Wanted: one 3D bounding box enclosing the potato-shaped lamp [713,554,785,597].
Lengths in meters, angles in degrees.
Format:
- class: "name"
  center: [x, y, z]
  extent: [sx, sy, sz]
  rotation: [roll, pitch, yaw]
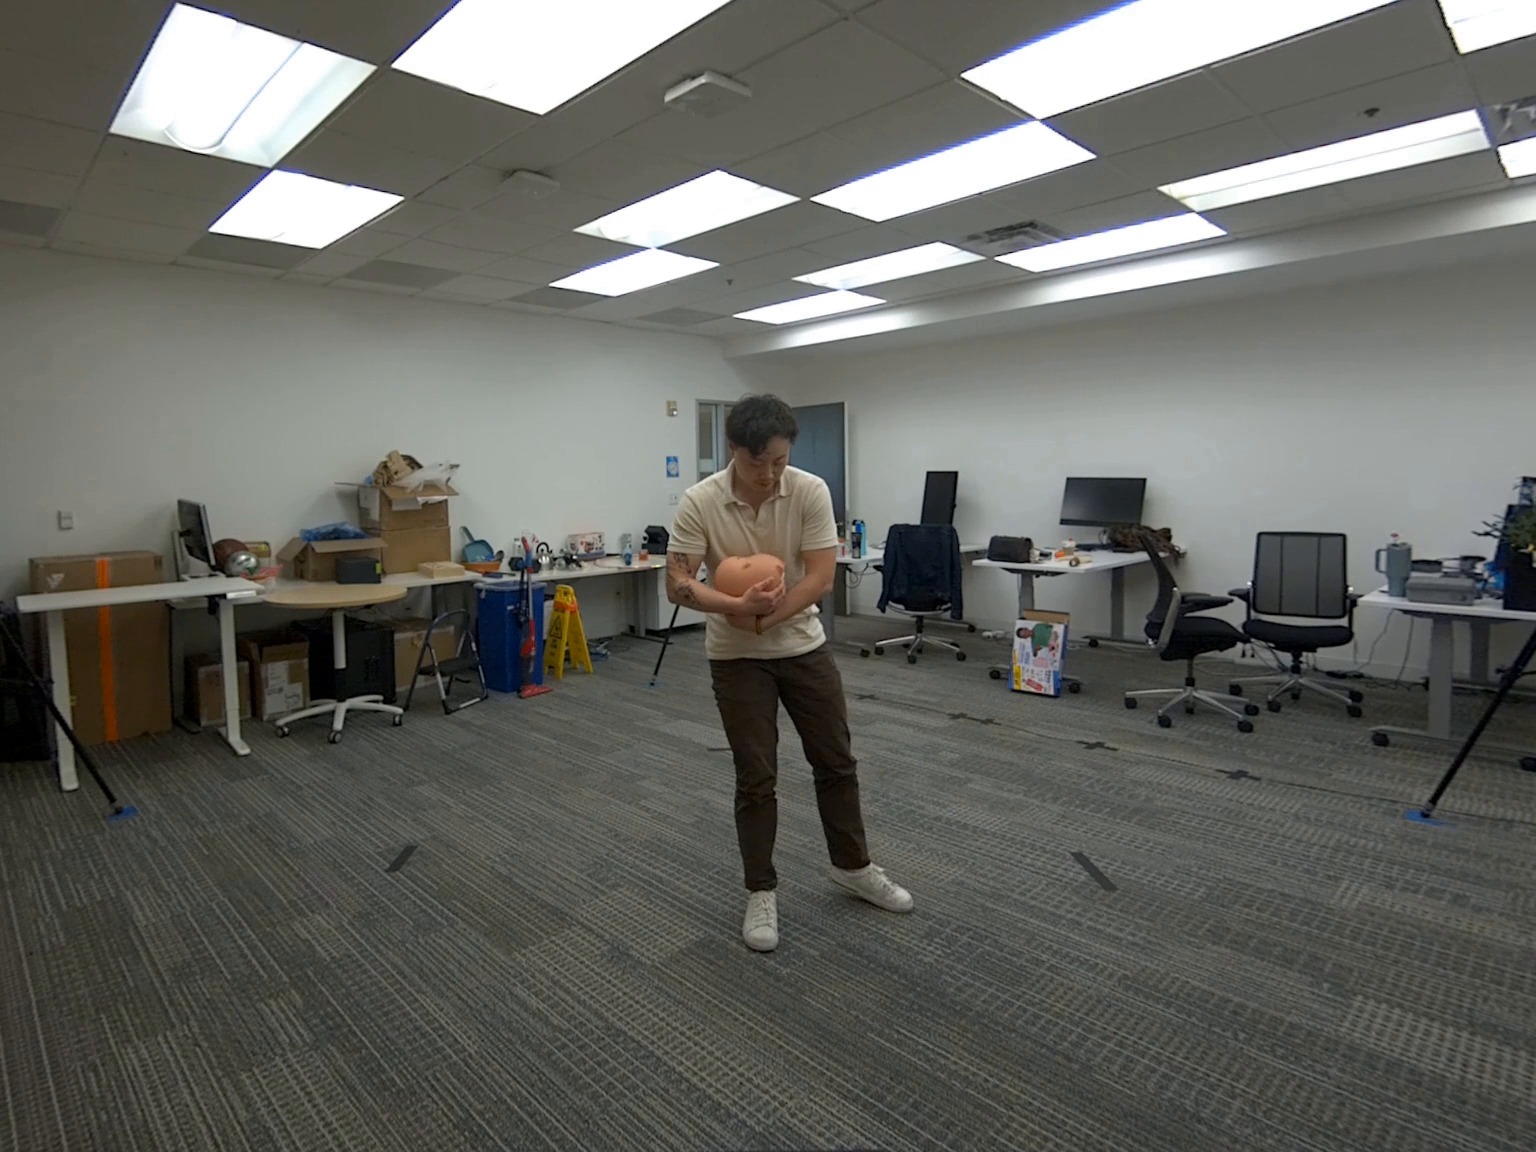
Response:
- class: "potato-shaped lamp"
  center: [-0.060, 0.009, 2.504]
  extent: [0.200, 0.171, 0.164]
  rotation: [16, 3, 6]
